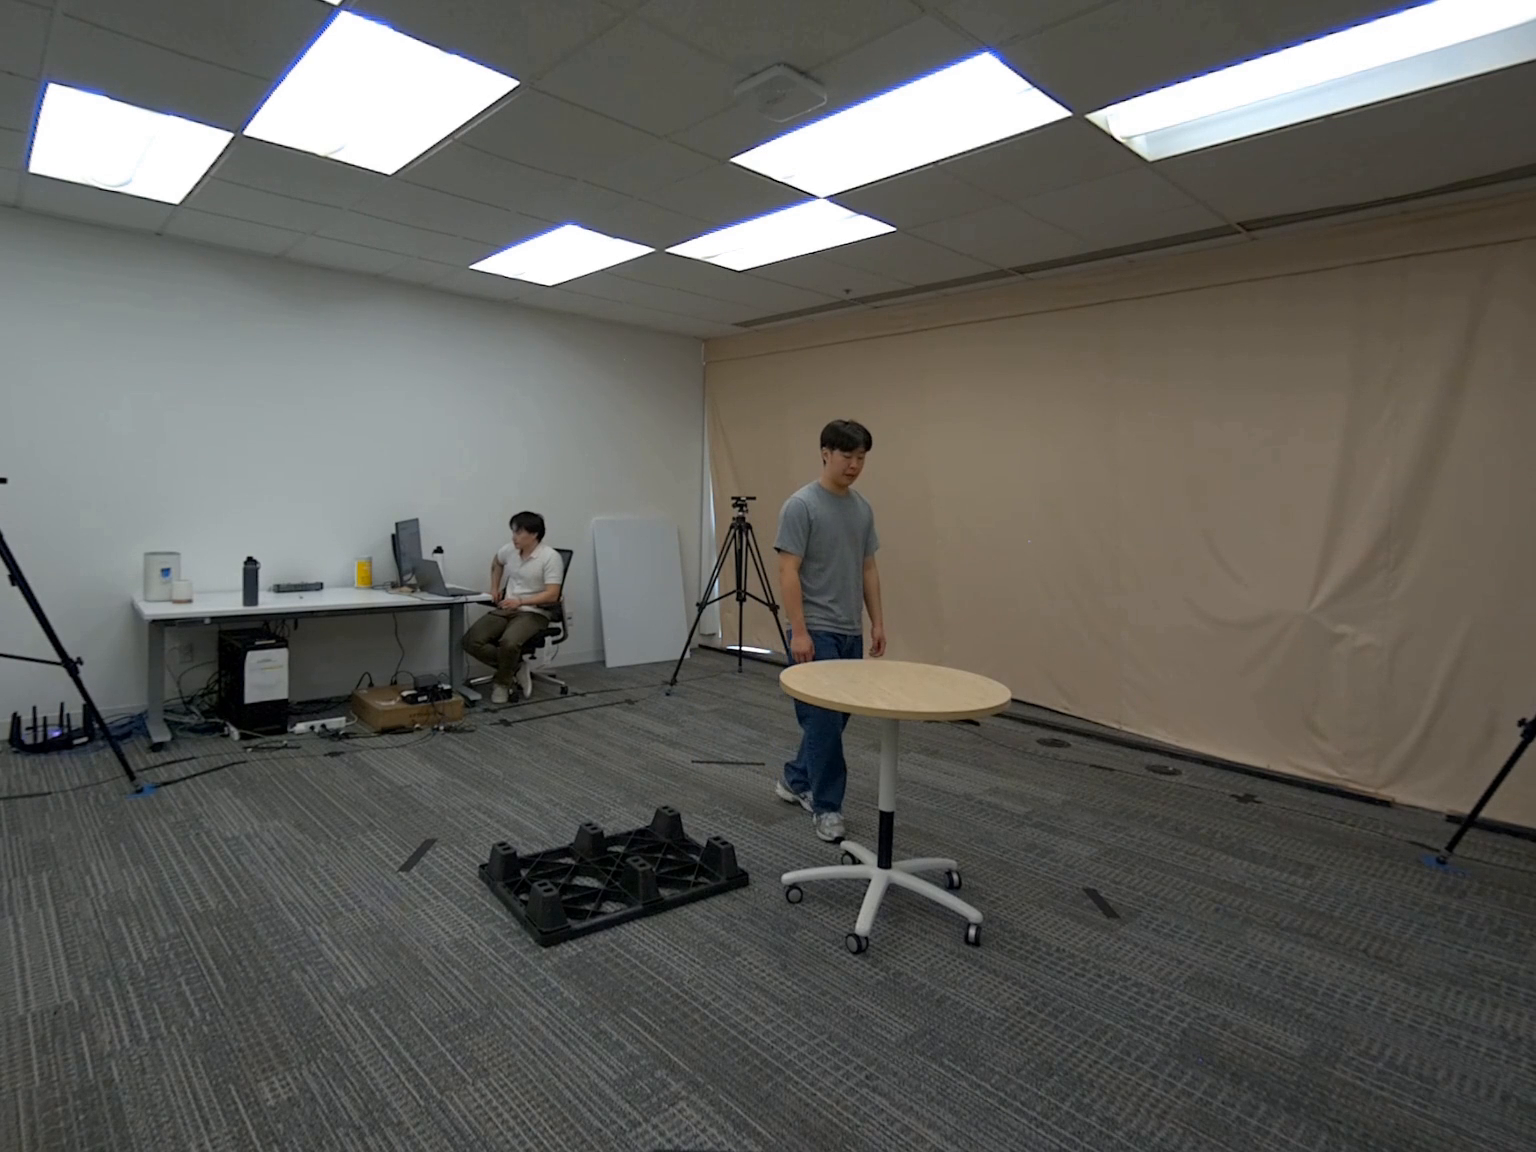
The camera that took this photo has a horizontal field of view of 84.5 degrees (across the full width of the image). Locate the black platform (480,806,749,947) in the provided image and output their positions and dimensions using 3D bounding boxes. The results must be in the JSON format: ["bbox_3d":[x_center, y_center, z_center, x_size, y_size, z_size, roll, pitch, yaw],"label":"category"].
[{"bbox_3d":[-0.562,1.038,3.032,0.788,0.143,0.620,-3,6,-37],"label":"black platform"}]
